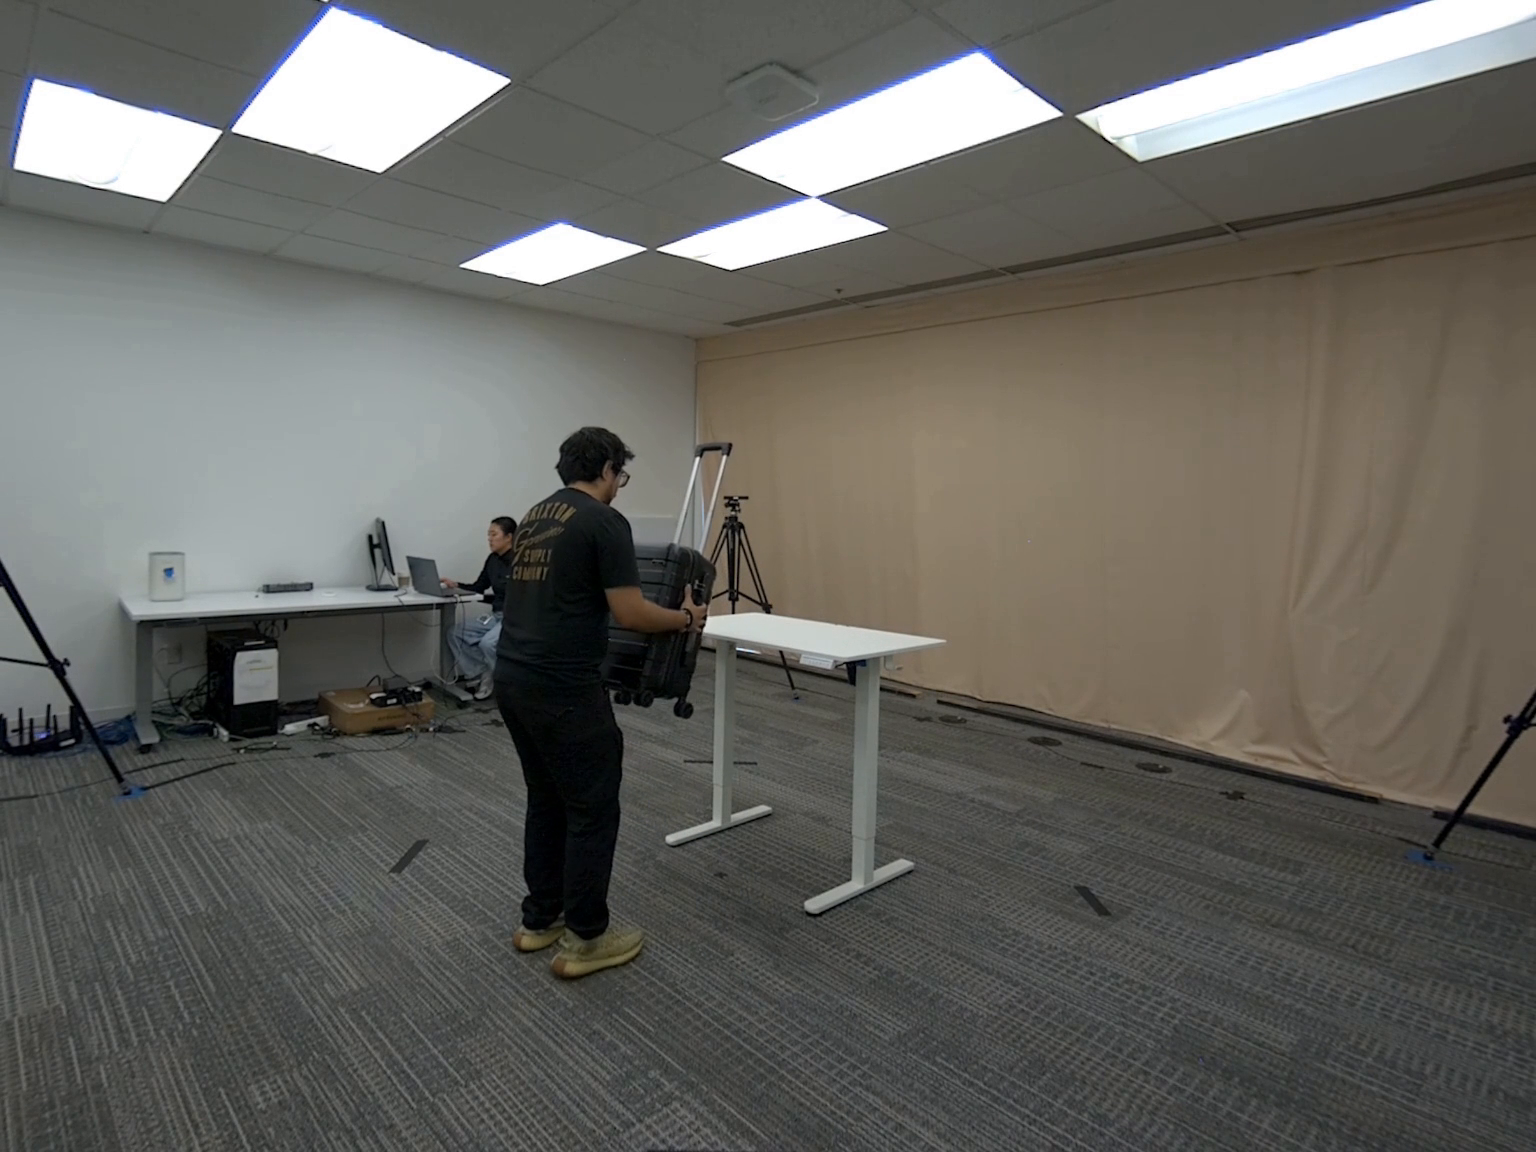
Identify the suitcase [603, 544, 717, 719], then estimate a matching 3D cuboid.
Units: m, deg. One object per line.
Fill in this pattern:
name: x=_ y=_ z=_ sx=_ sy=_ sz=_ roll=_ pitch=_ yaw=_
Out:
suitcase: x=-0.364 y=-0.039 z=2.874 sx=0.393 sy=0.985 sz=0.249 roll=1 pitch=-15 yaw=39
